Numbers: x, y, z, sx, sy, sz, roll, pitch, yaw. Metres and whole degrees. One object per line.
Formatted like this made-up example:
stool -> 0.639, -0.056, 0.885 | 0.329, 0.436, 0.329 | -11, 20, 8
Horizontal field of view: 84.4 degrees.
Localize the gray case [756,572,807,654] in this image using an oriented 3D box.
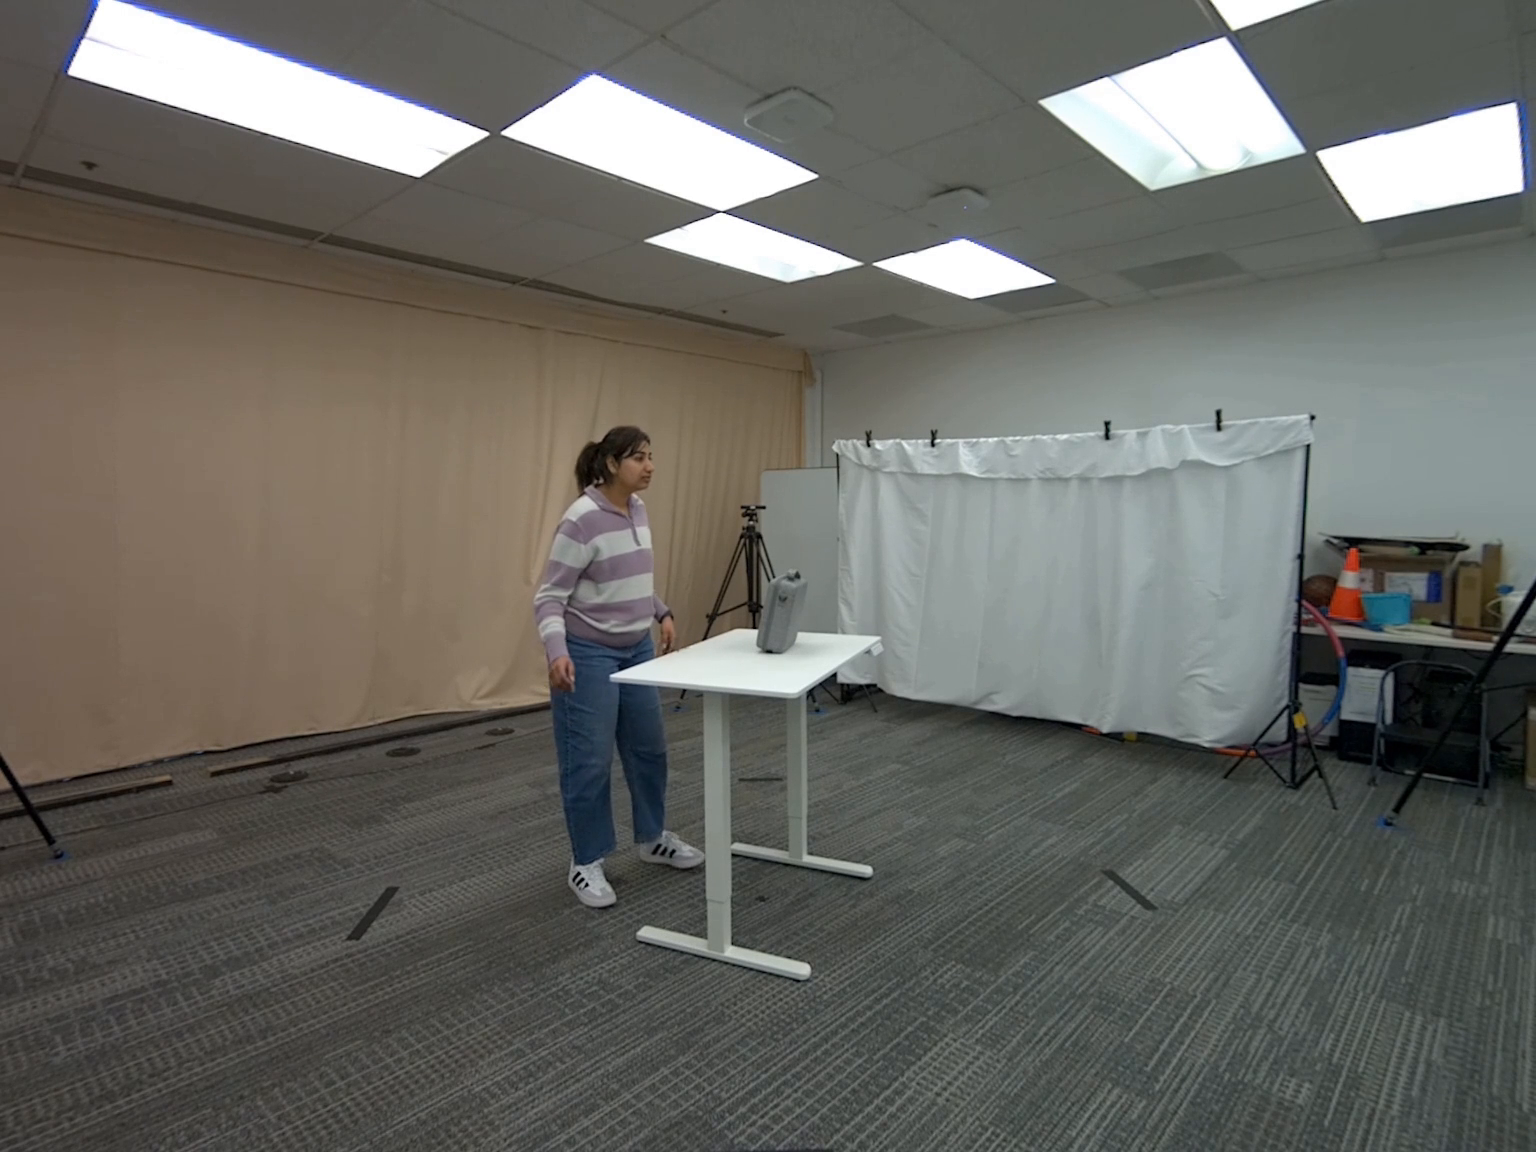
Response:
gray case -> 0.057, 0.130, 2.984 | 0.106, 0.260, 0.253 | 10, 8, 13
